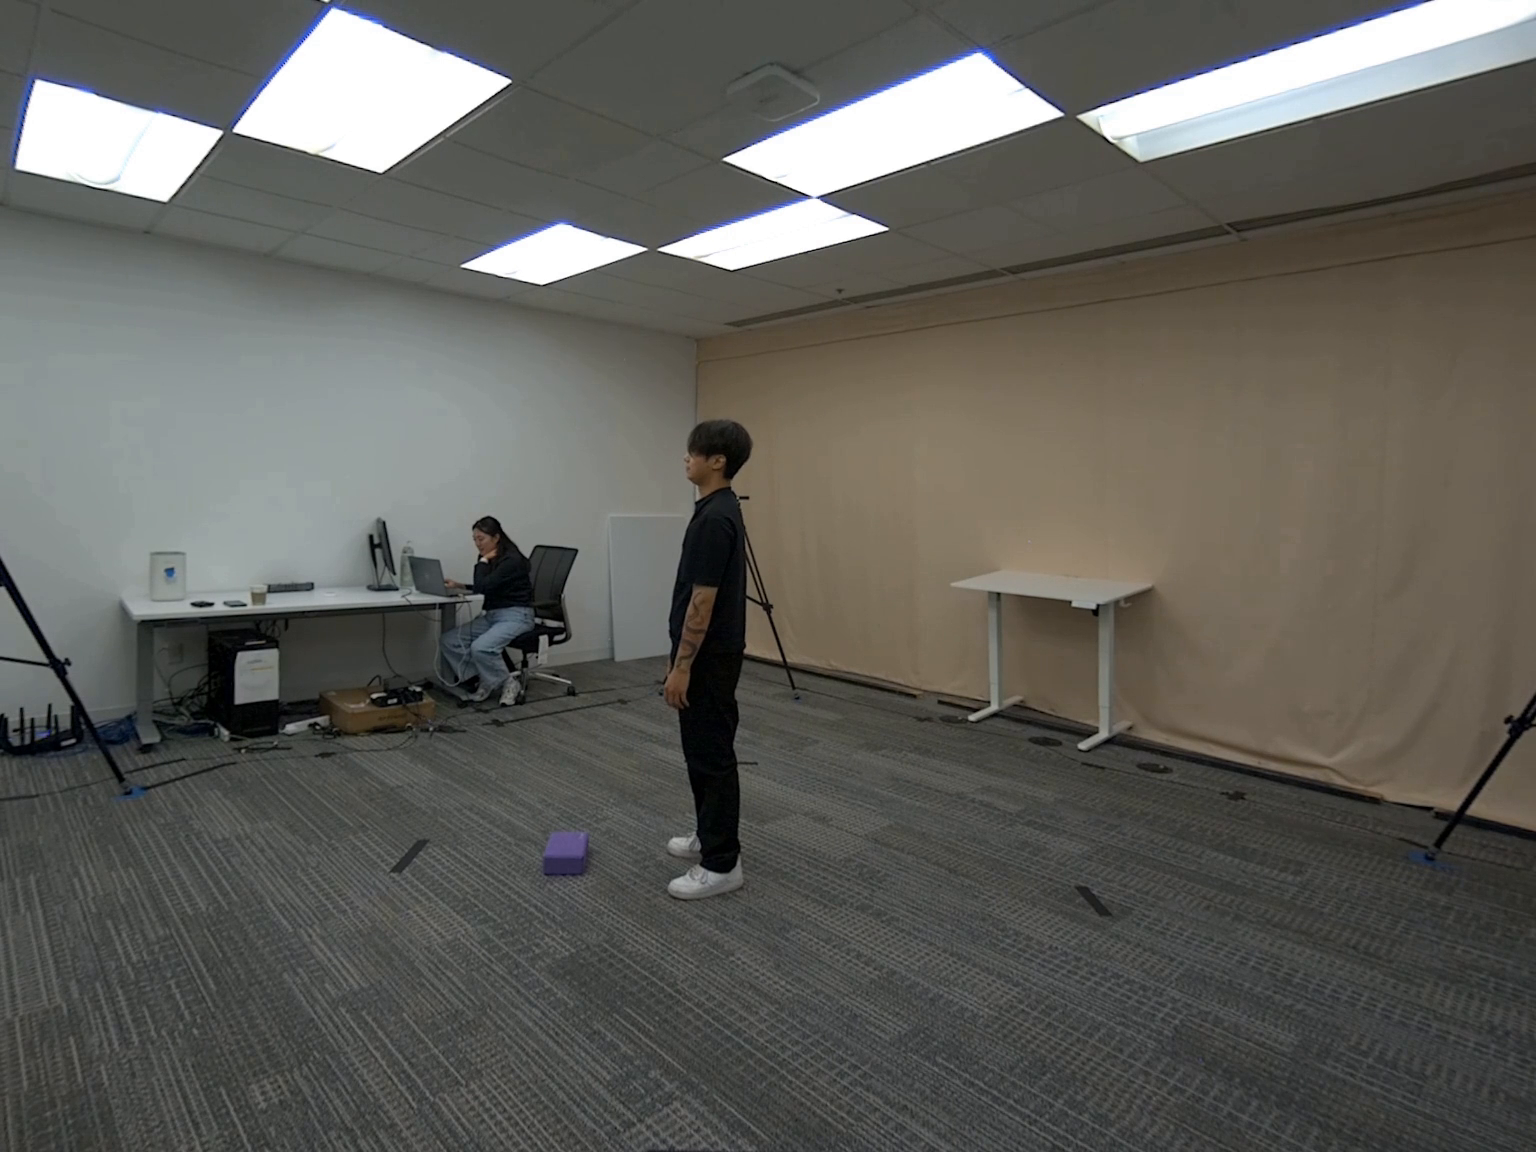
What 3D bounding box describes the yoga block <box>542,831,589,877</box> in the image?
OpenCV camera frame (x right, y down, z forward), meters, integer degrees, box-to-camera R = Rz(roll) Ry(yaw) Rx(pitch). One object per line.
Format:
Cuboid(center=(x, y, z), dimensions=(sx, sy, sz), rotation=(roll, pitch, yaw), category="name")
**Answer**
Cuboid(center=(-0.761, 1.041, 3.178), dimensions=(0.148, 0.076, 0.231), rotation=(1, 7, -6), category="yoga block")
